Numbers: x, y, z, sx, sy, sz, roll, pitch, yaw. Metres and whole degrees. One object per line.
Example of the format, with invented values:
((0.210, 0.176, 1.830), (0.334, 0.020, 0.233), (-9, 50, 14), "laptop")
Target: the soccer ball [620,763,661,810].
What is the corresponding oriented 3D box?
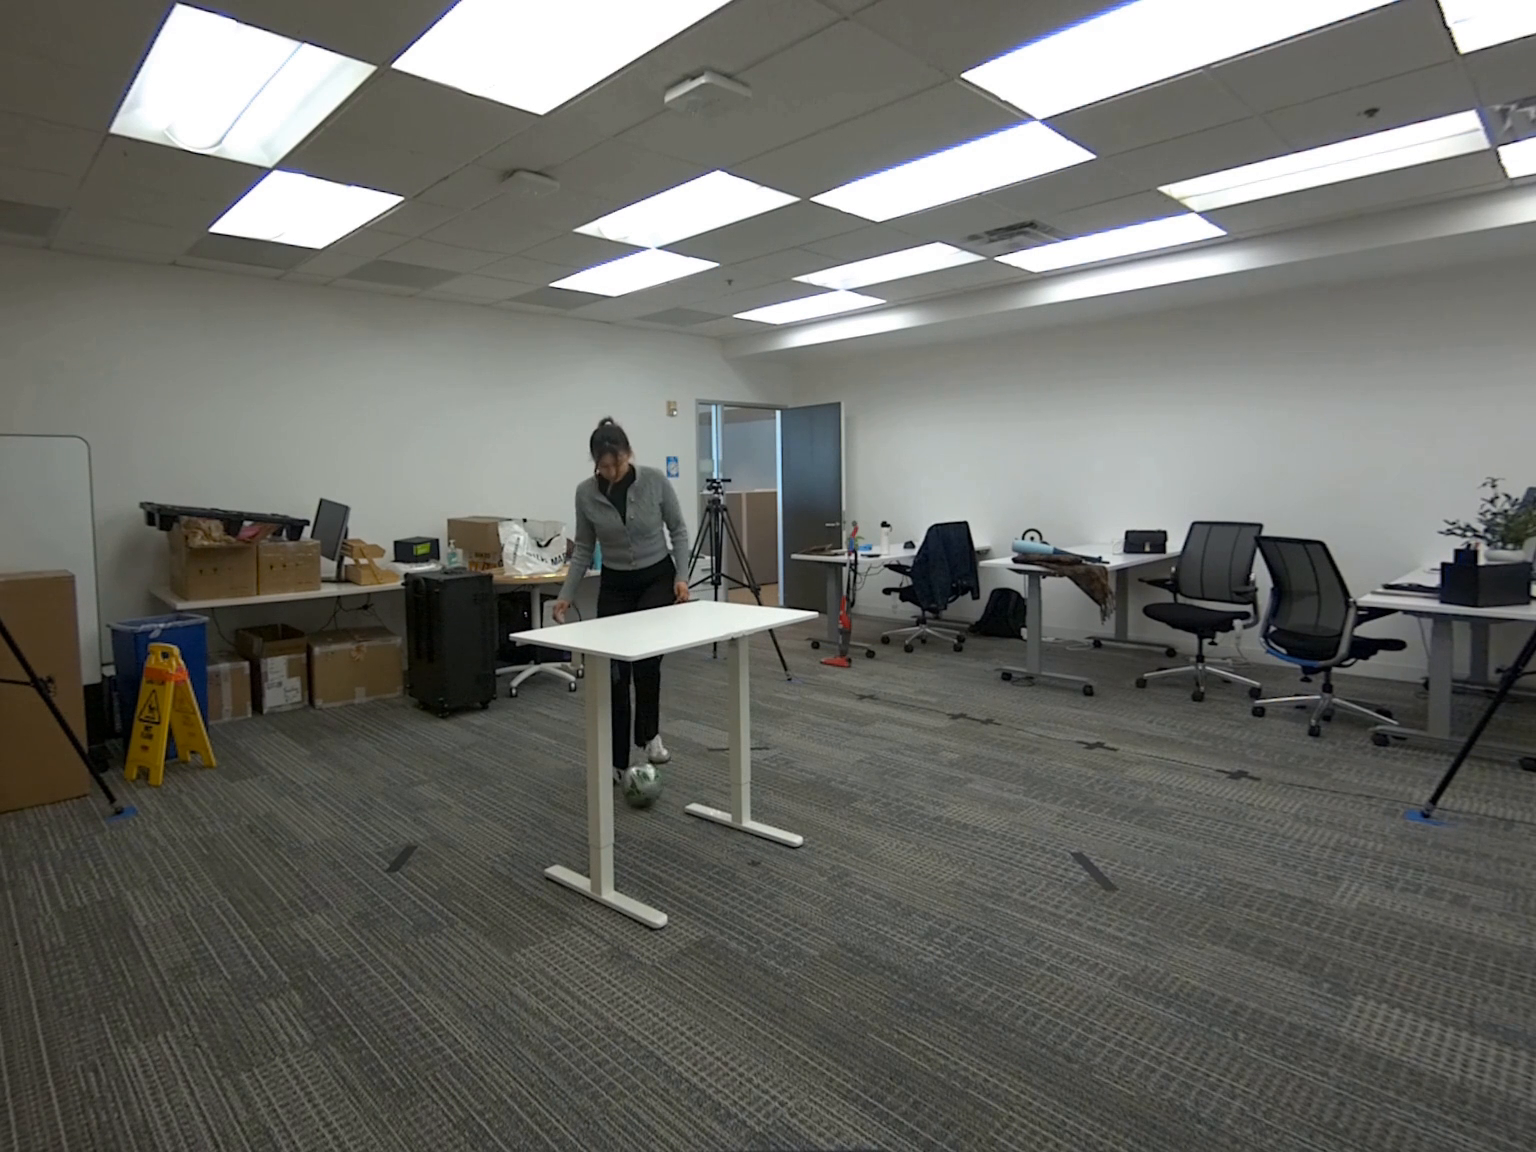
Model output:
((-0.559, 0.900, 3.692), (0.187, 0.187, 0.188), (-1, 5, -2), "soccer ball")
